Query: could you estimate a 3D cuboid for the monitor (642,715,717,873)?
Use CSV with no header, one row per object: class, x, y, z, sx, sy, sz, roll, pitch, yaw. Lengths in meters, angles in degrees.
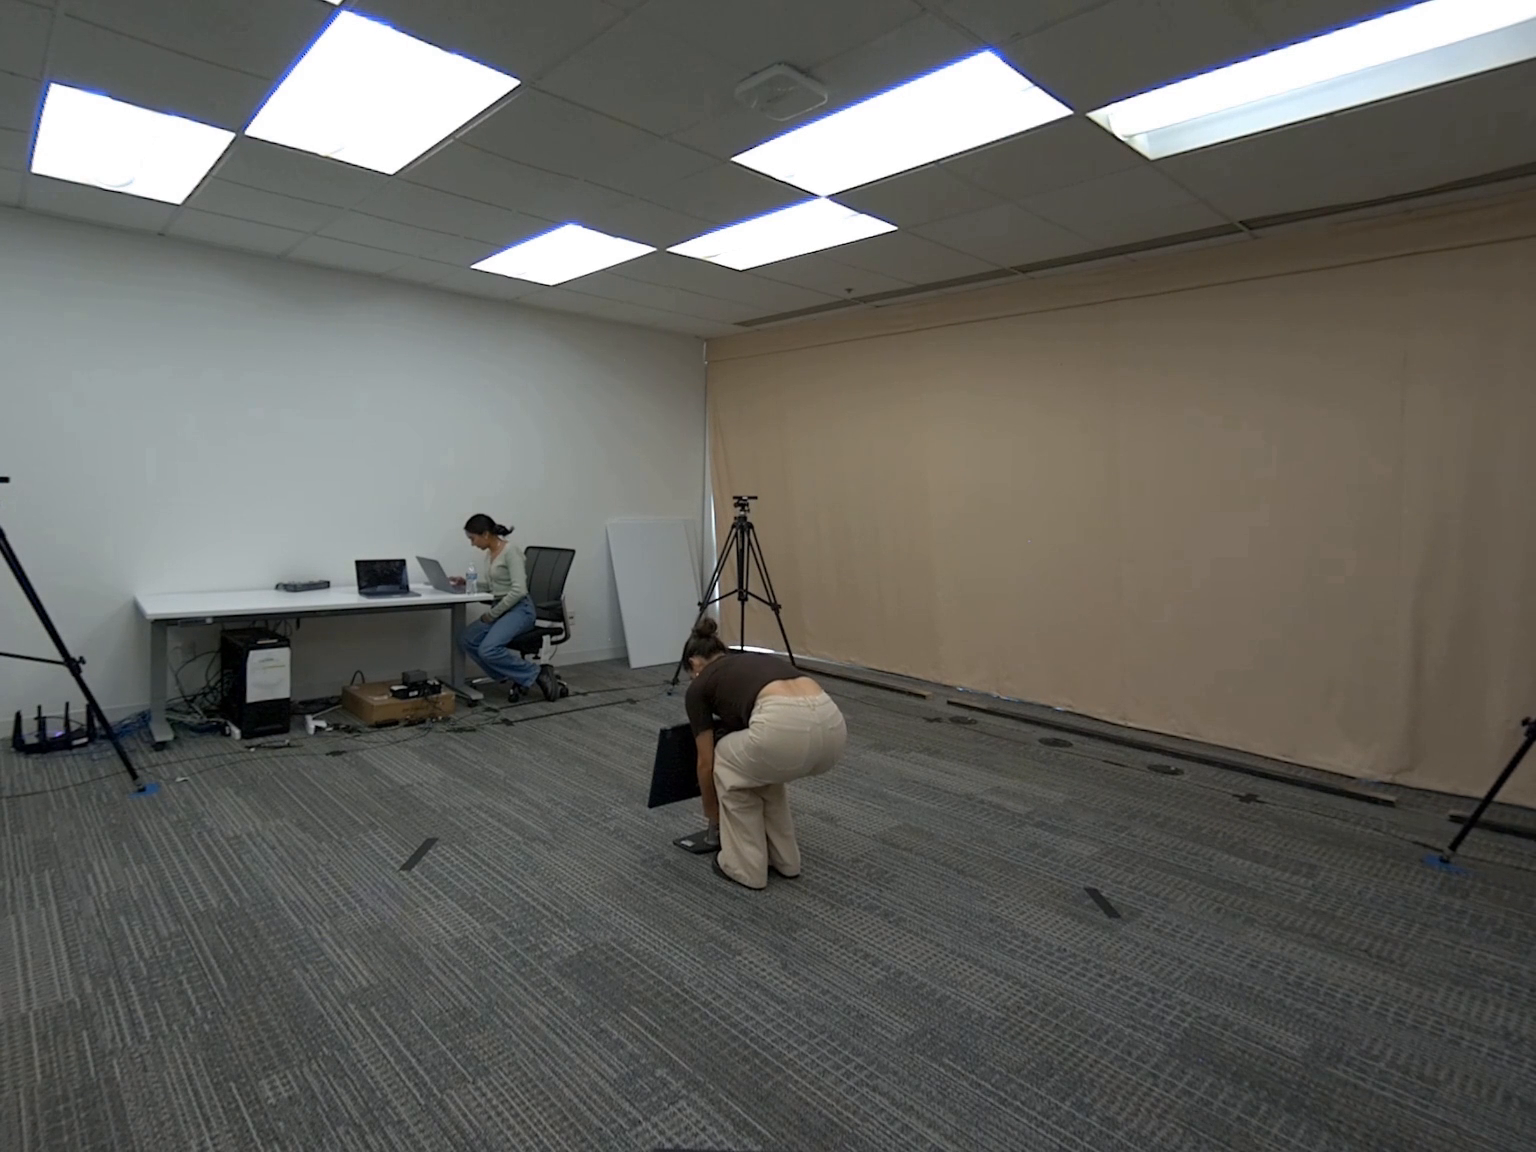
monitor,-0.218,0.826,3.387,0.527,0.521,0.192,-3,6,-38
